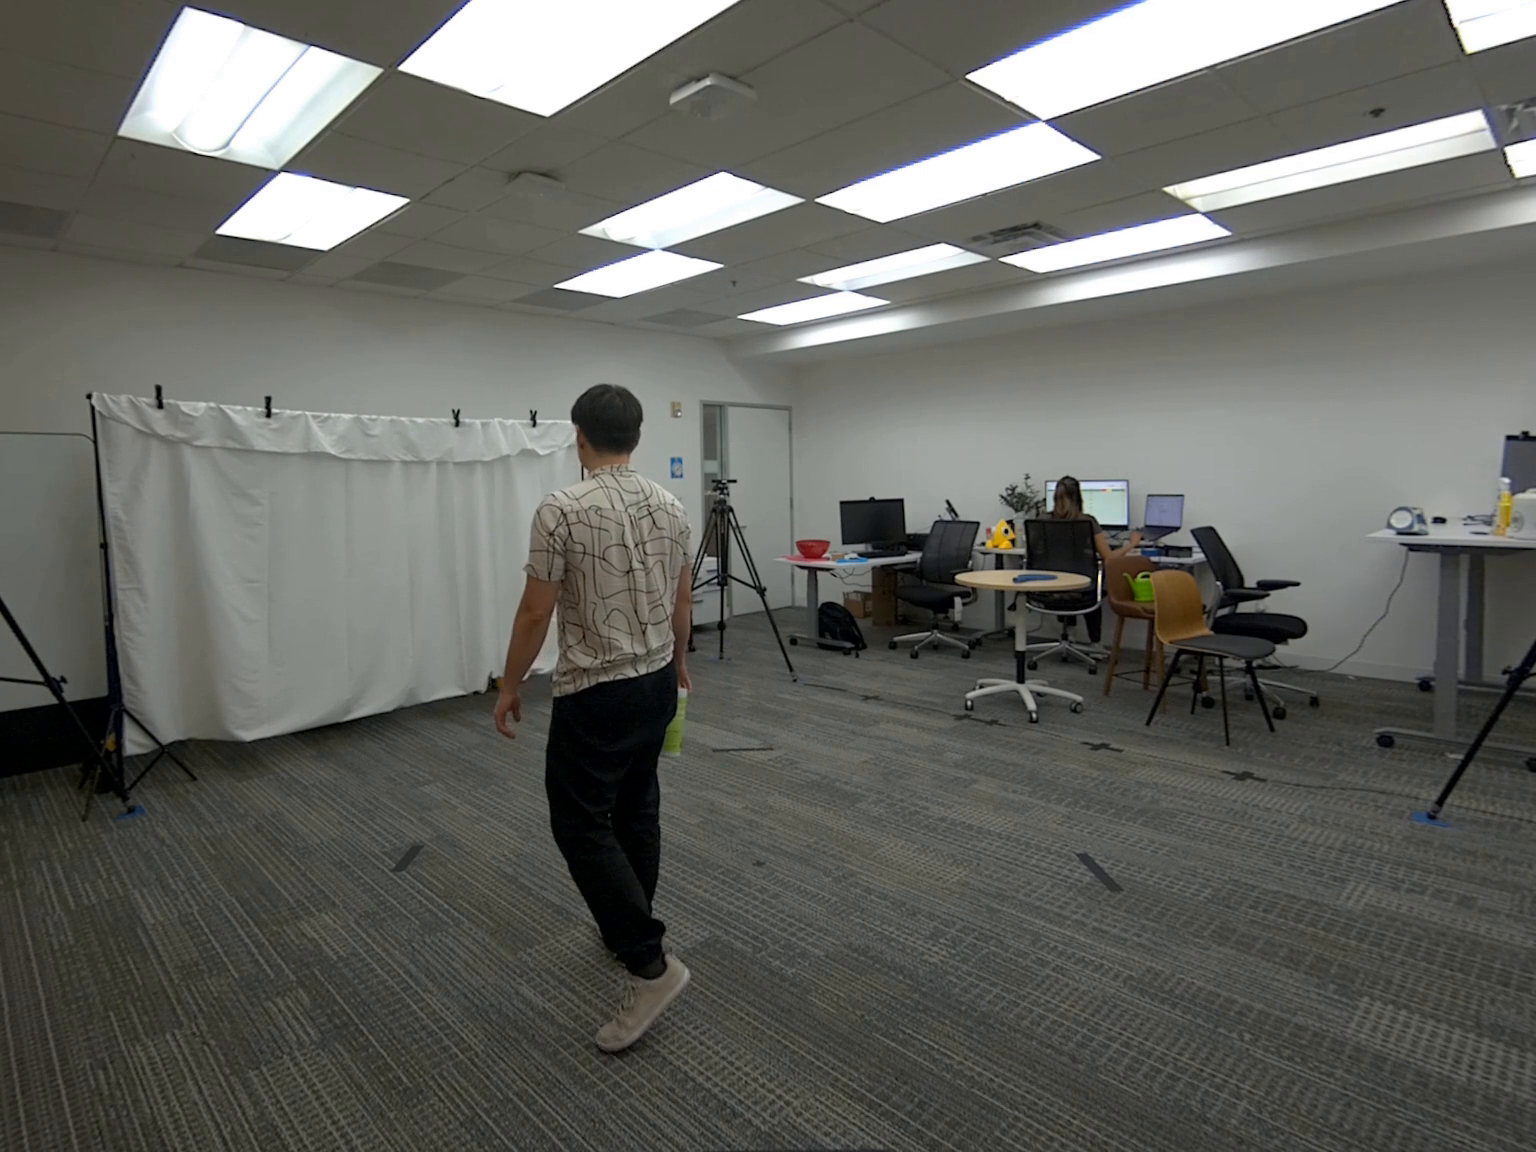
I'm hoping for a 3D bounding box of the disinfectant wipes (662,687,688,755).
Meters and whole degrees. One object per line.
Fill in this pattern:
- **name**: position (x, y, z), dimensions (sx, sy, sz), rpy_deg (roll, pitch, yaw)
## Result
- **disinfectant wipes**: position (-0.312, 0.462, 2.687), dimensions (0.118, 0.218, 0.117), rpy_deg (5, -4, -1)
